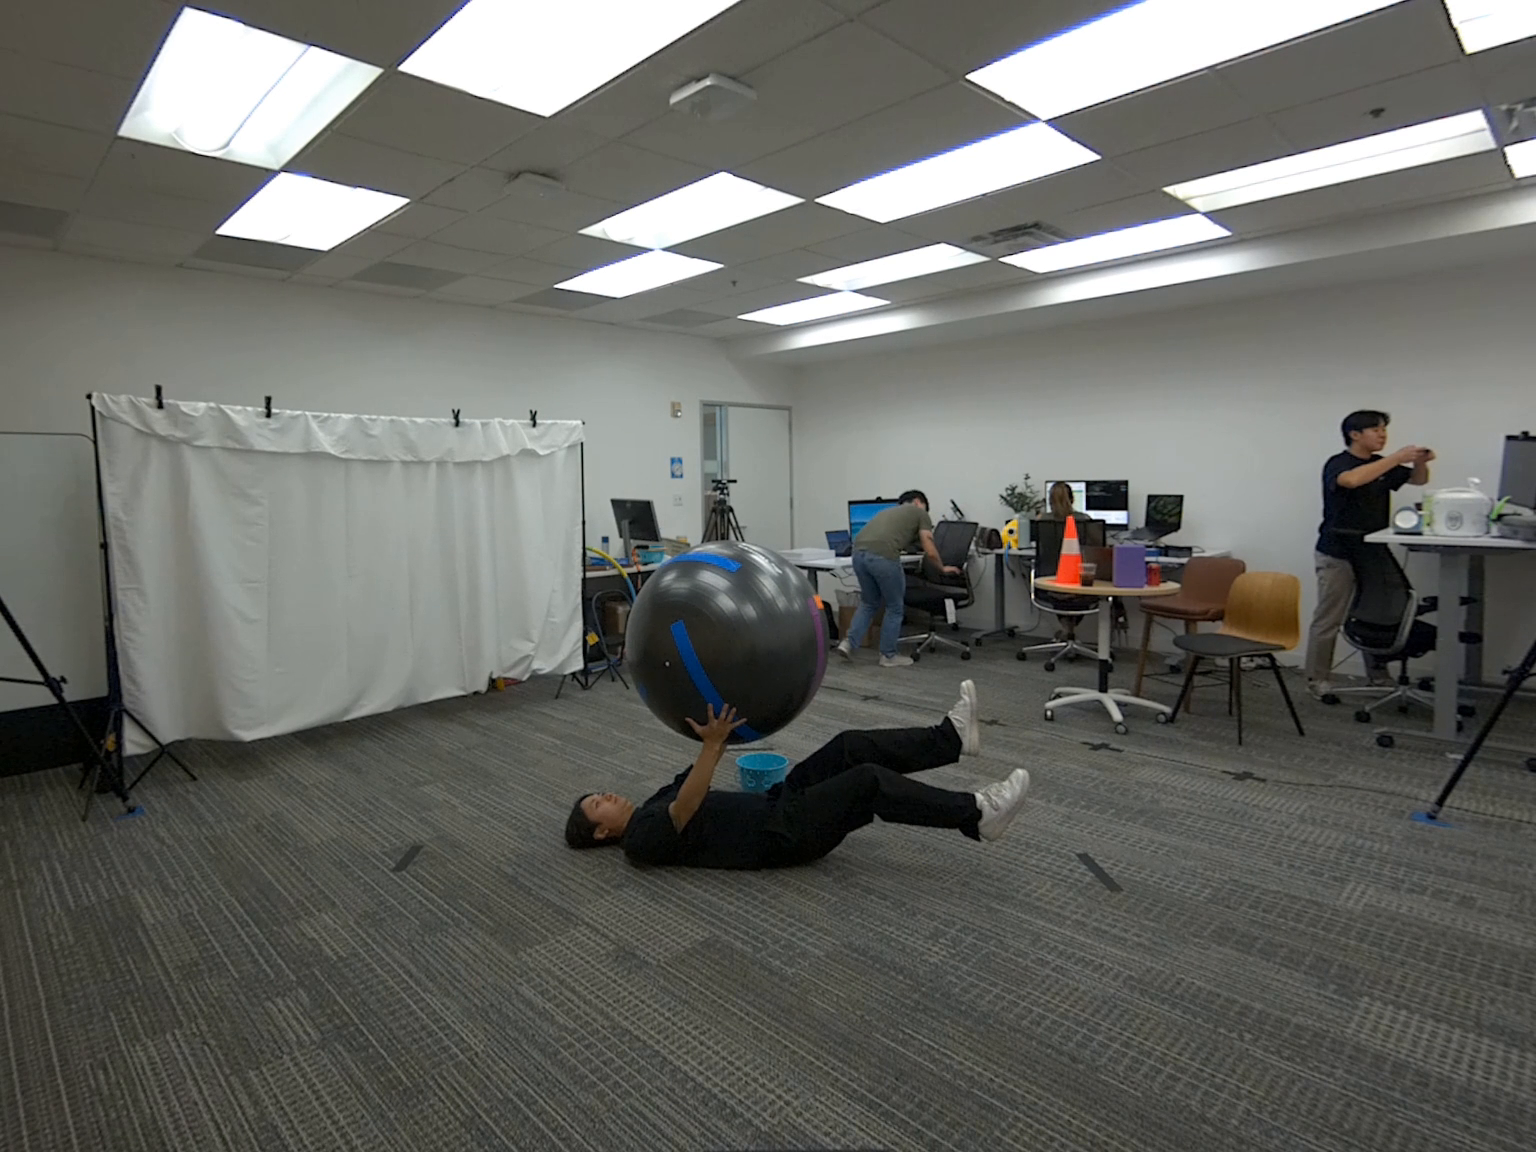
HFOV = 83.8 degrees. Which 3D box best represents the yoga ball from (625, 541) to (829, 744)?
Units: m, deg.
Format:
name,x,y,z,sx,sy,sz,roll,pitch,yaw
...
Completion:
name,x,y,z,sx,sy,sz,roll,pitch,yaw
yoga ball,-0.156,0.252,3.204,0.757,0.755,0.762,-1,5,-2
